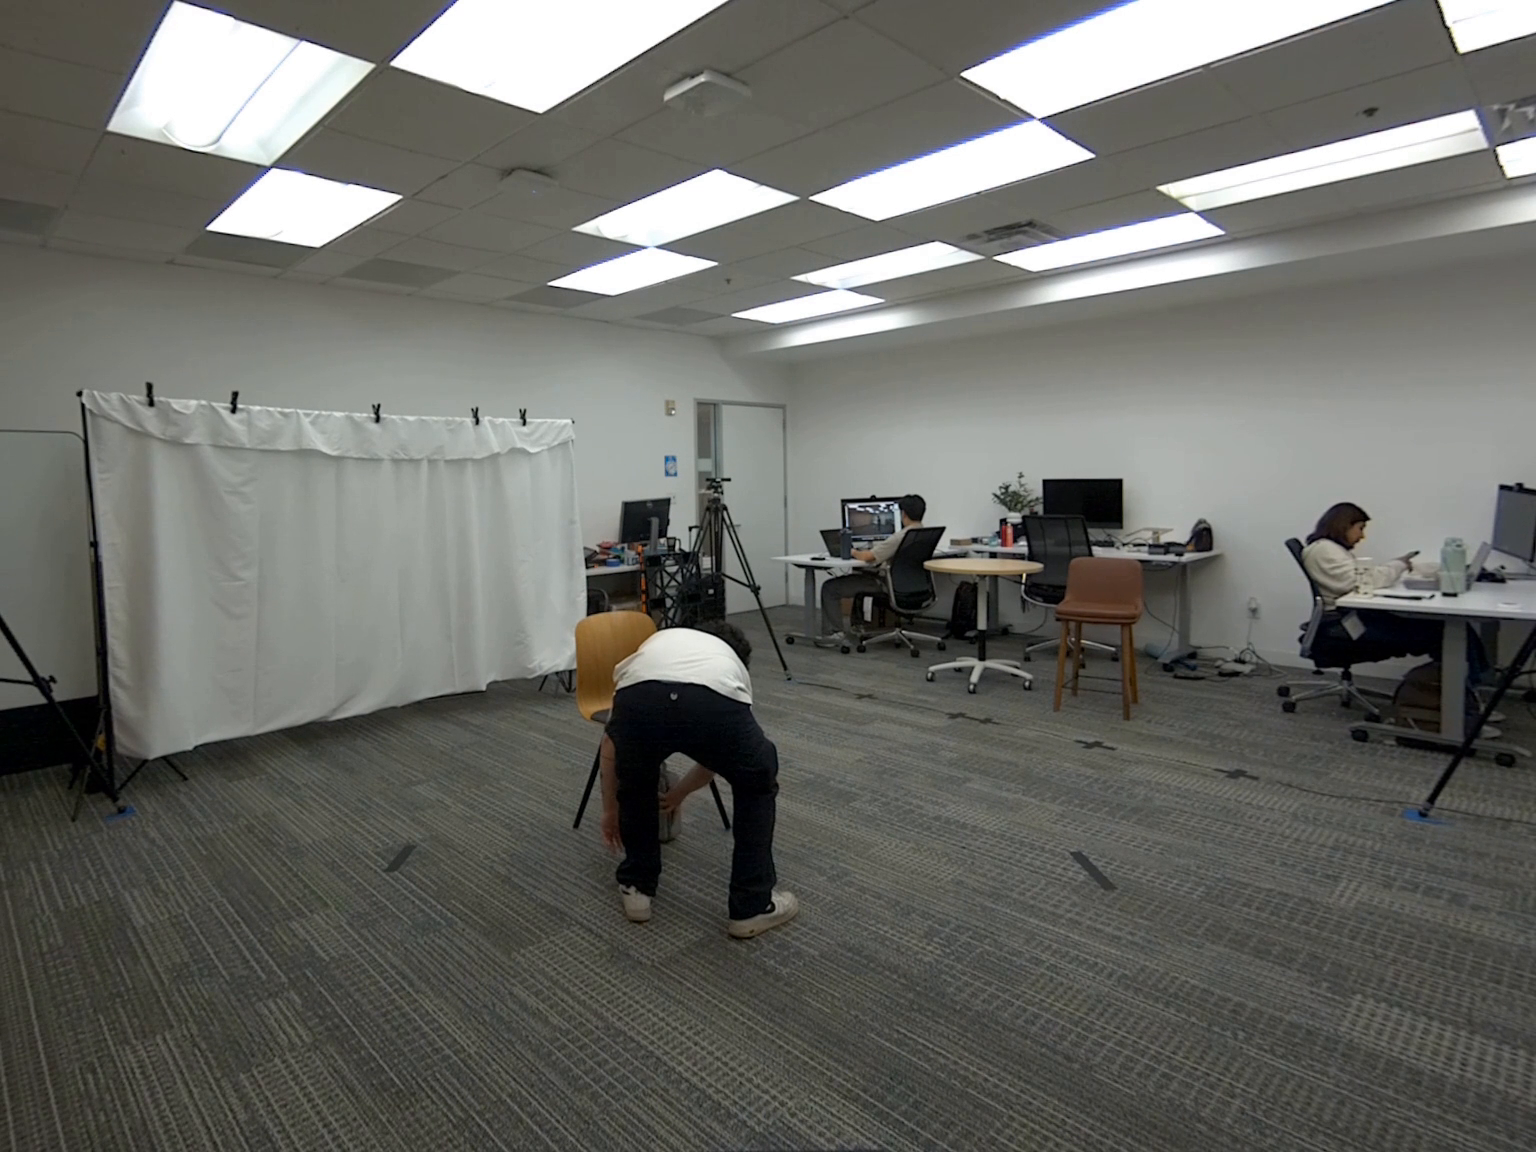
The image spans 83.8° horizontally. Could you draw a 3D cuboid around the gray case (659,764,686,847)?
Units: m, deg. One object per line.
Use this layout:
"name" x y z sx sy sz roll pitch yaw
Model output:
"gray case" -0.449 0.882 3.374 0.101 0.260 0.265 -2 4 -44
